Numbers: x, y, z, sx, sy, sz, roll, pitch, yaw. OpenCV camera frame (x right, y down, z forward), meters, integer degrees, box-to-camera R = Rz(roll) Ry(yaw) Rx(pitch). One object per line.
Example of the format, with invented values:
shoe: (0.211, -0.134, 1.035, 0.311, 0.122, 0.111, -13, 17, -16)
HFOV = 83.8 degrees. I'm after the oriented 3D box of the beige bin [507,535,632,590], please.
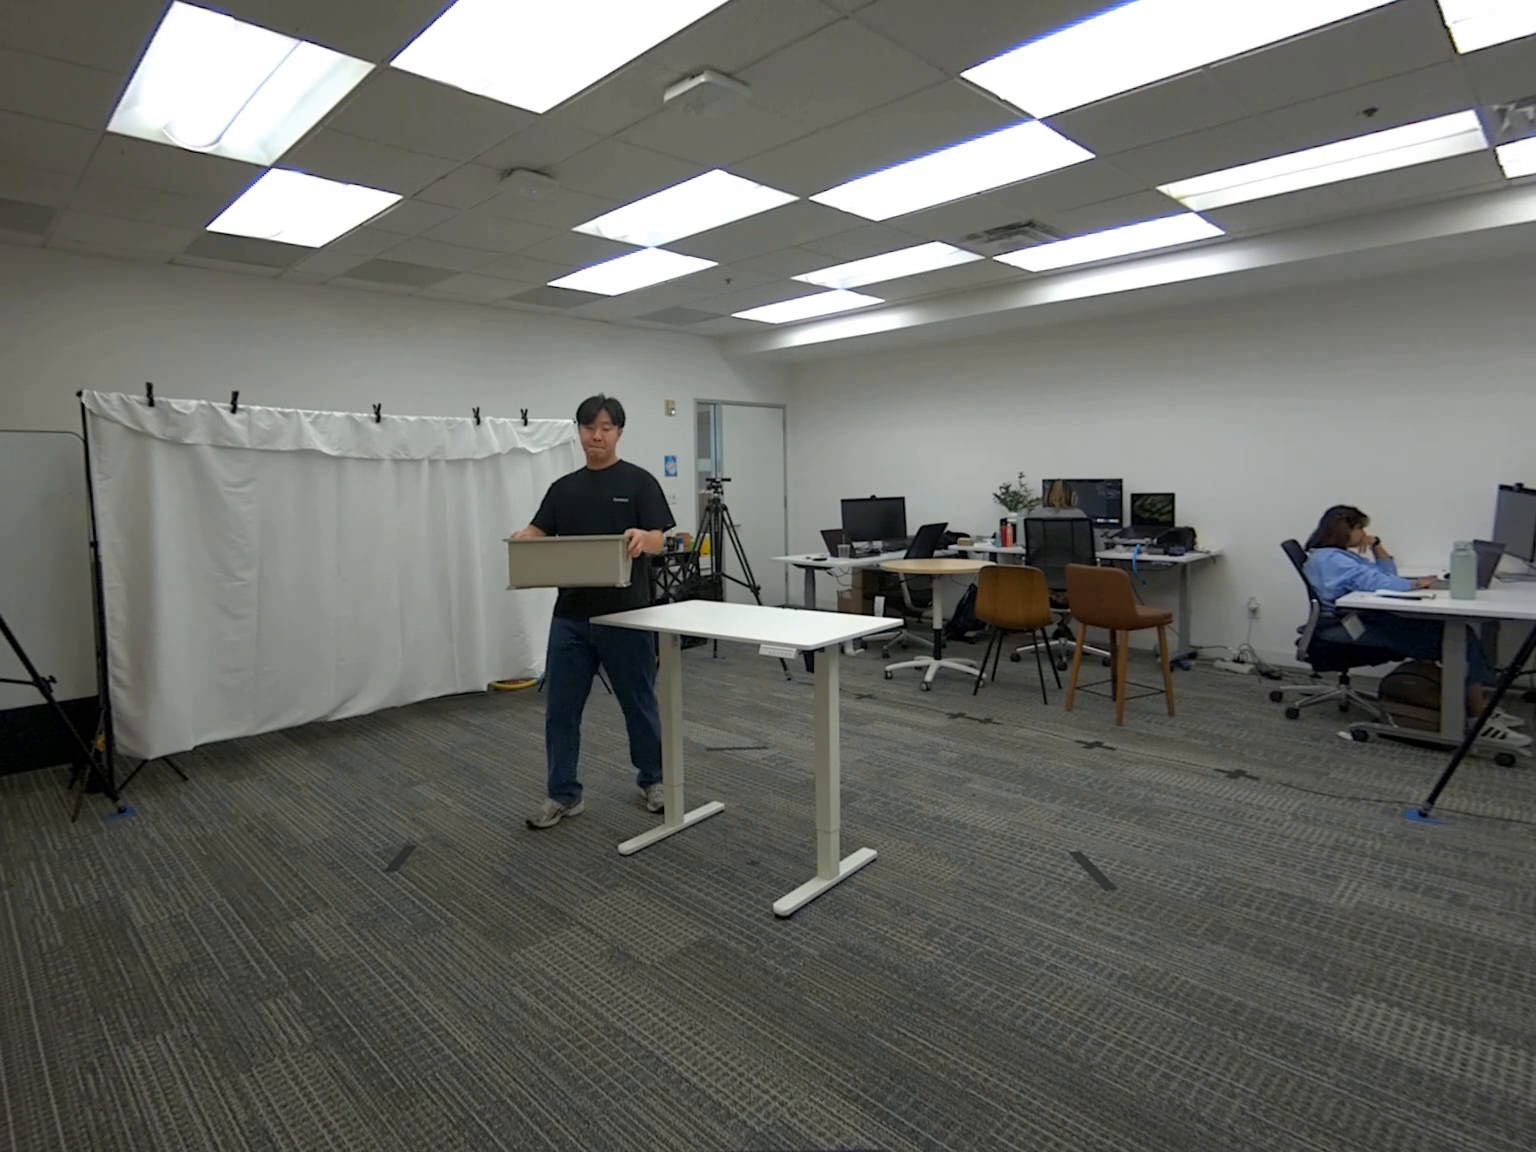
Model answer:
beige bin: (-0.722, -0.040, 3.131, 0.421, 0.189, 0.378, -2, 1, -4)
